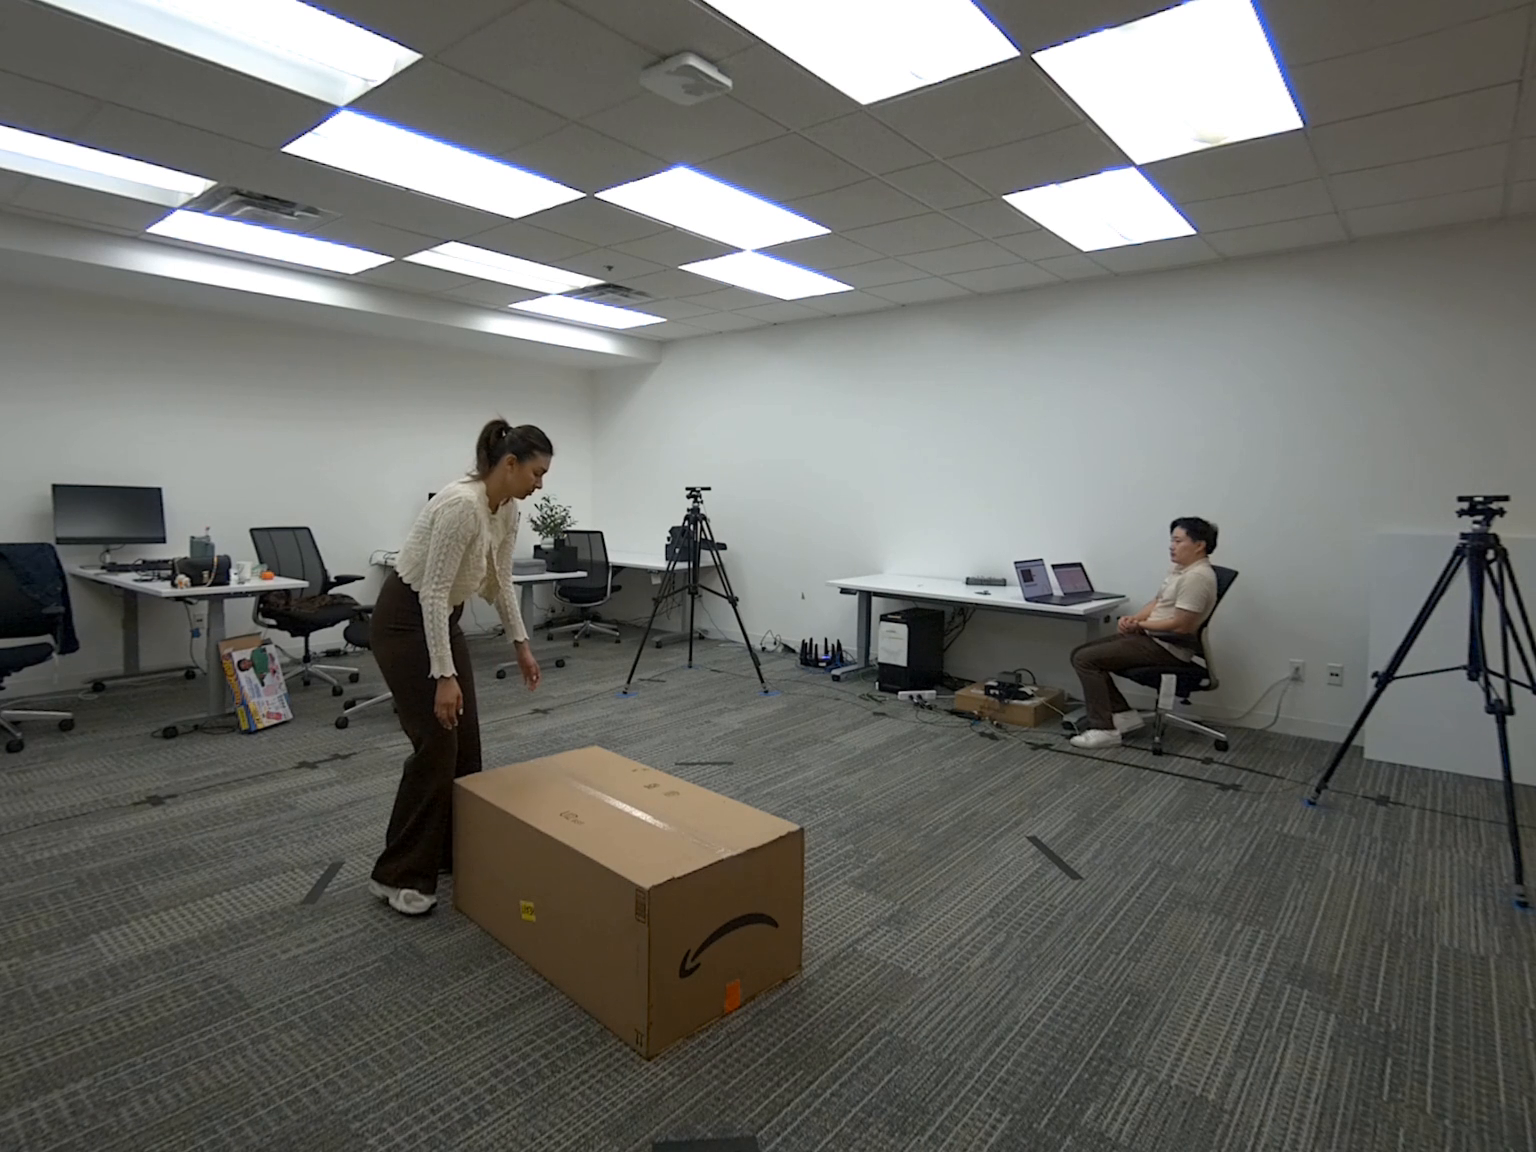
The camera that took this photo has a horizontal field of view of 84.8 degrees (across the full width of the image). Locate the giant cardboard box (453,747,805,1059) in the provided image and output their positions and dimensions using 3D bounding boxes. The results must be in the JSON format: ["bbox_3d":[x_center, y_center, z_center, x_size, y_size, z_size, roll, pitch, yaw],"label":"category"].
[{"bbox_3d":[-0.469,0.900,2.609,1.061,0.424,0.560,6,7,45],"label":"giant cardboard box"}]
